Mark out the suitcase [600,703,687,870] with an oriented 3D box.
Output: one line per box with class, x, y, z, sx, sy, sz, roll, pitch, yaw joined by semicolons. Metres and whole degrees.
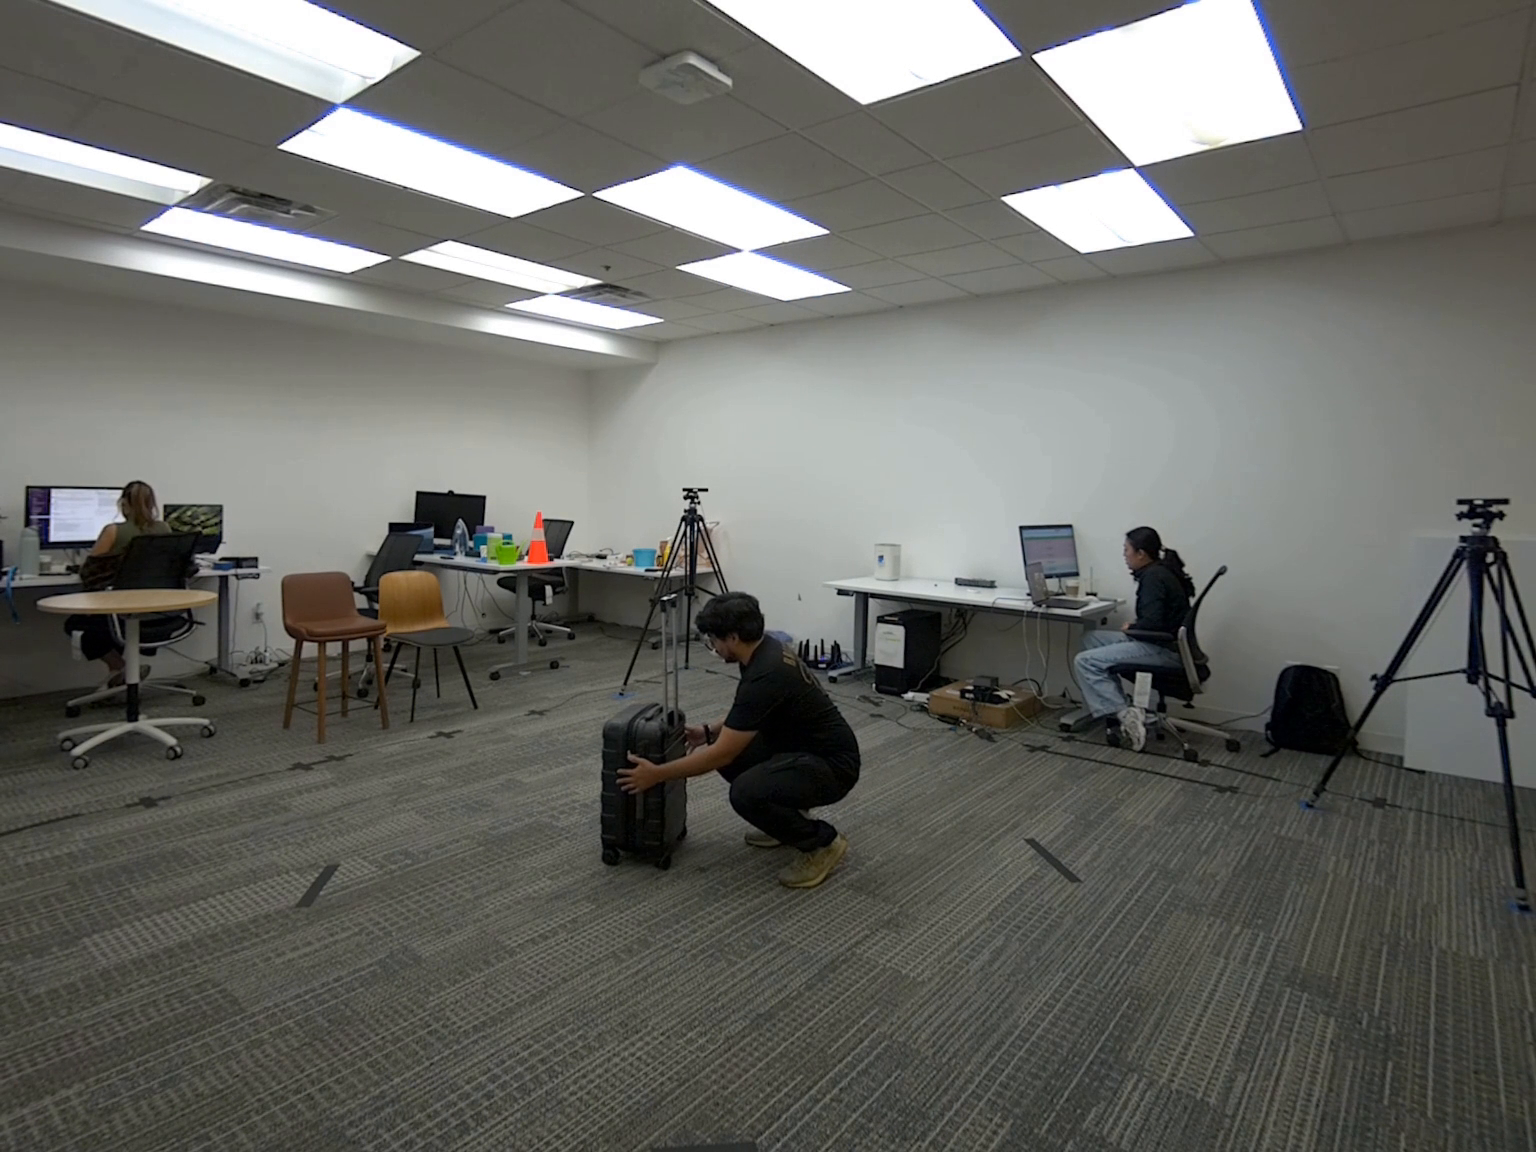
suitcase;-0.484;0.576;3.252;0.260;0.977;0.381;-1;2;9
